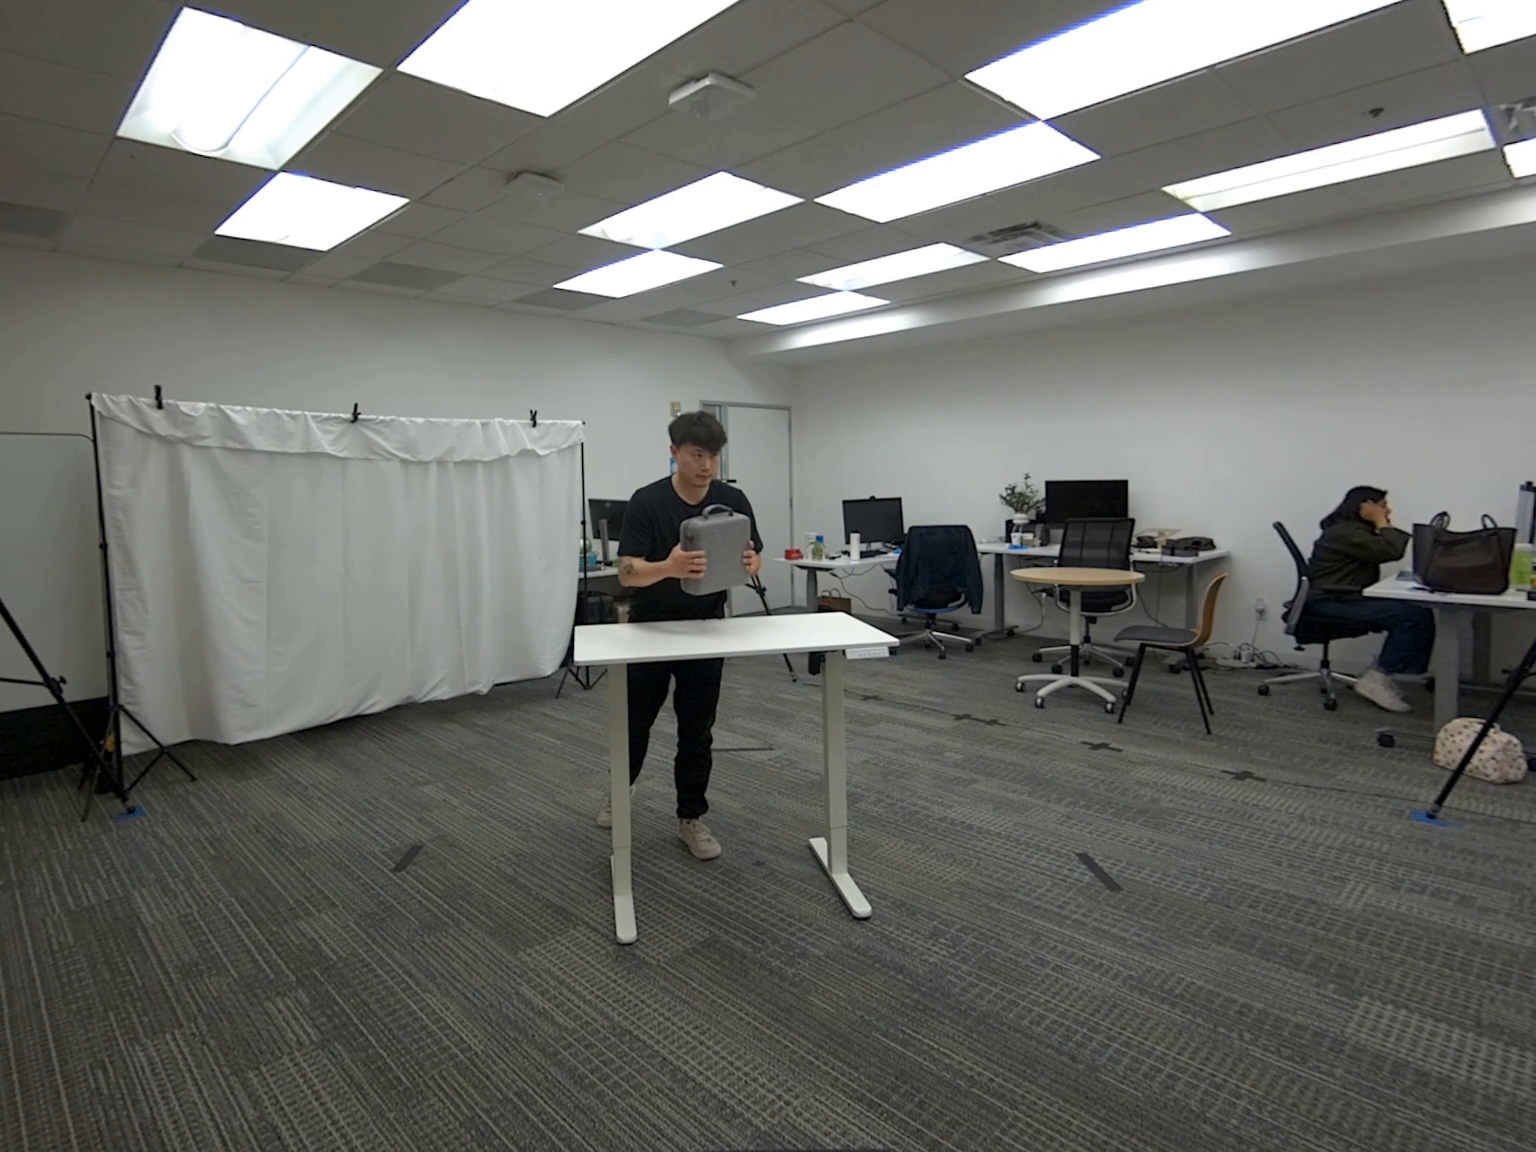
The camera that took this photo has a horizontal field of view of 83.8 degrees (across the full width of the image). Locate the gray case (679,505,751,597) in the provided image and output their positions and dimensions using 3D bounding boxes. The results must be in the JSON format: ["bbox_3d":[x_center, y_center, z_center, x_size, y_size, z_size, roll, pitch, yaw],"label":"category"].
[{"bbox_3d":[-0.179,-0.080,2.916,0.108,0.257,0.251,11,18,39],"label":"gray case"}]
